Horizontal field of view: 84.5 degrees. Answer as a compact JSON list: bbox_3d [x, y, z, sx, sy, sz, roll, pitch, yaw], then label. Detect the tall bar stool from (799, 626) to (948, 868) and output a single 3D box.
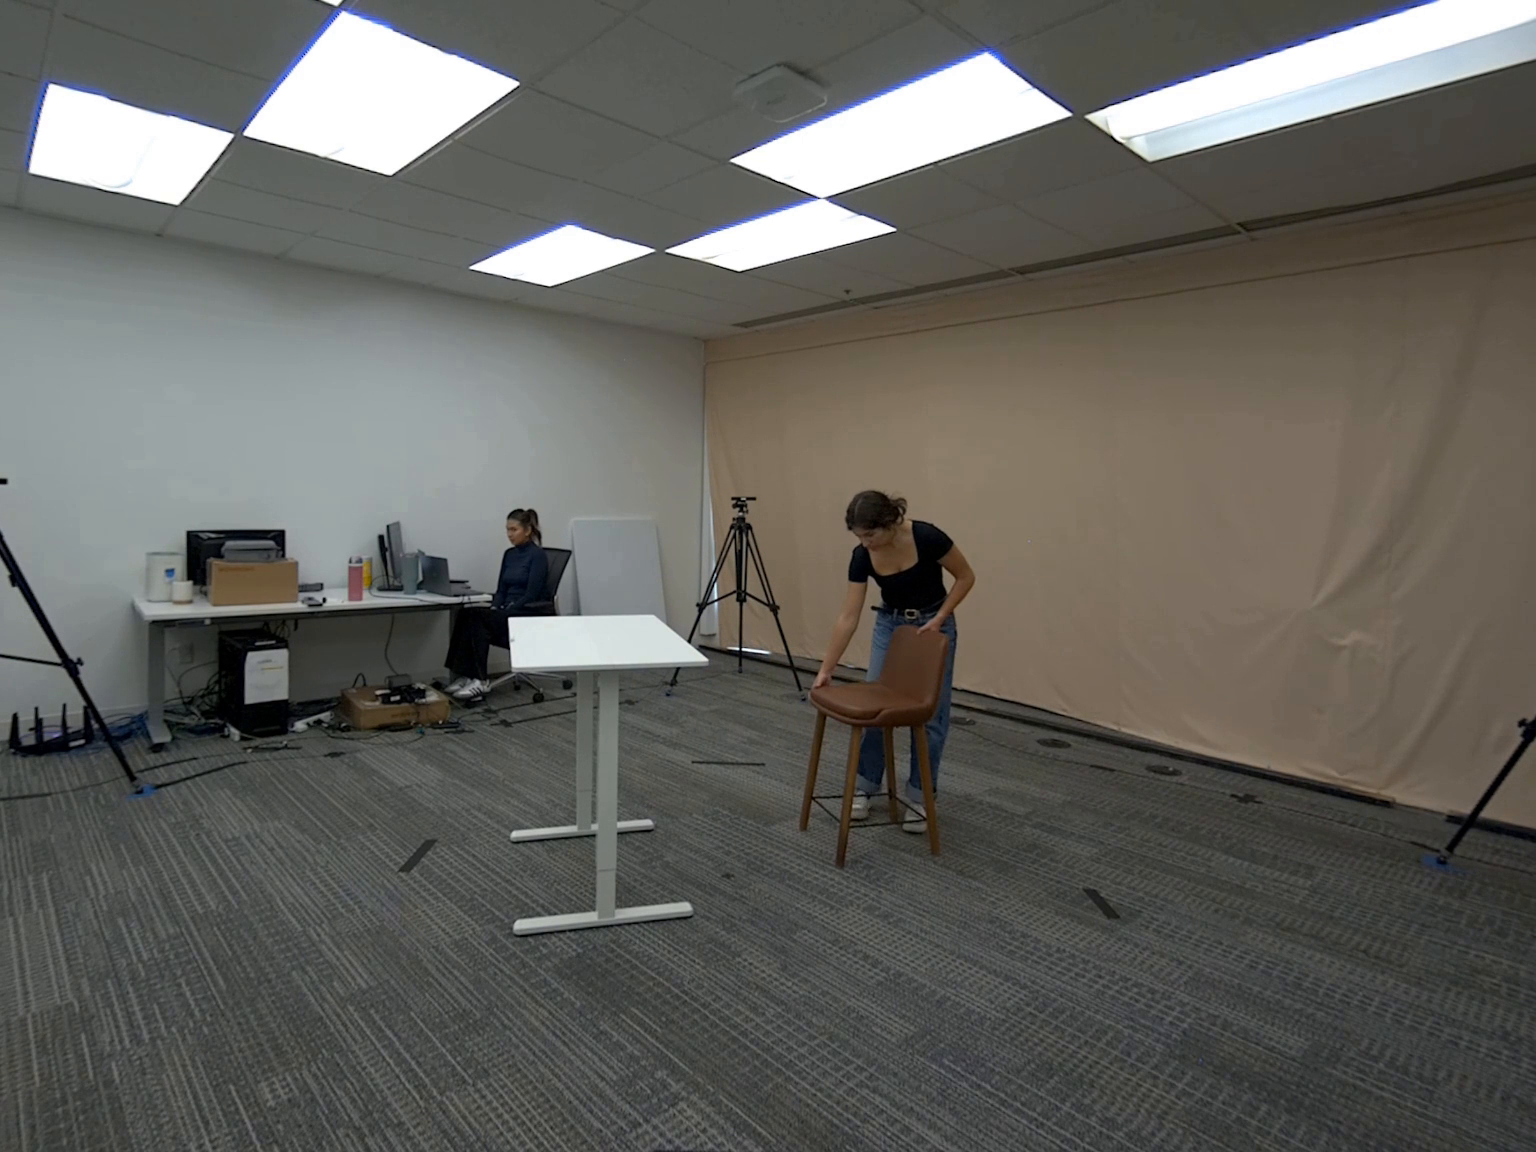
[{"bbox_3d":[0.411,0.653,3.422,0.461,0.888,0.463,3,2,-18],"label":"tall bar stool"}]
